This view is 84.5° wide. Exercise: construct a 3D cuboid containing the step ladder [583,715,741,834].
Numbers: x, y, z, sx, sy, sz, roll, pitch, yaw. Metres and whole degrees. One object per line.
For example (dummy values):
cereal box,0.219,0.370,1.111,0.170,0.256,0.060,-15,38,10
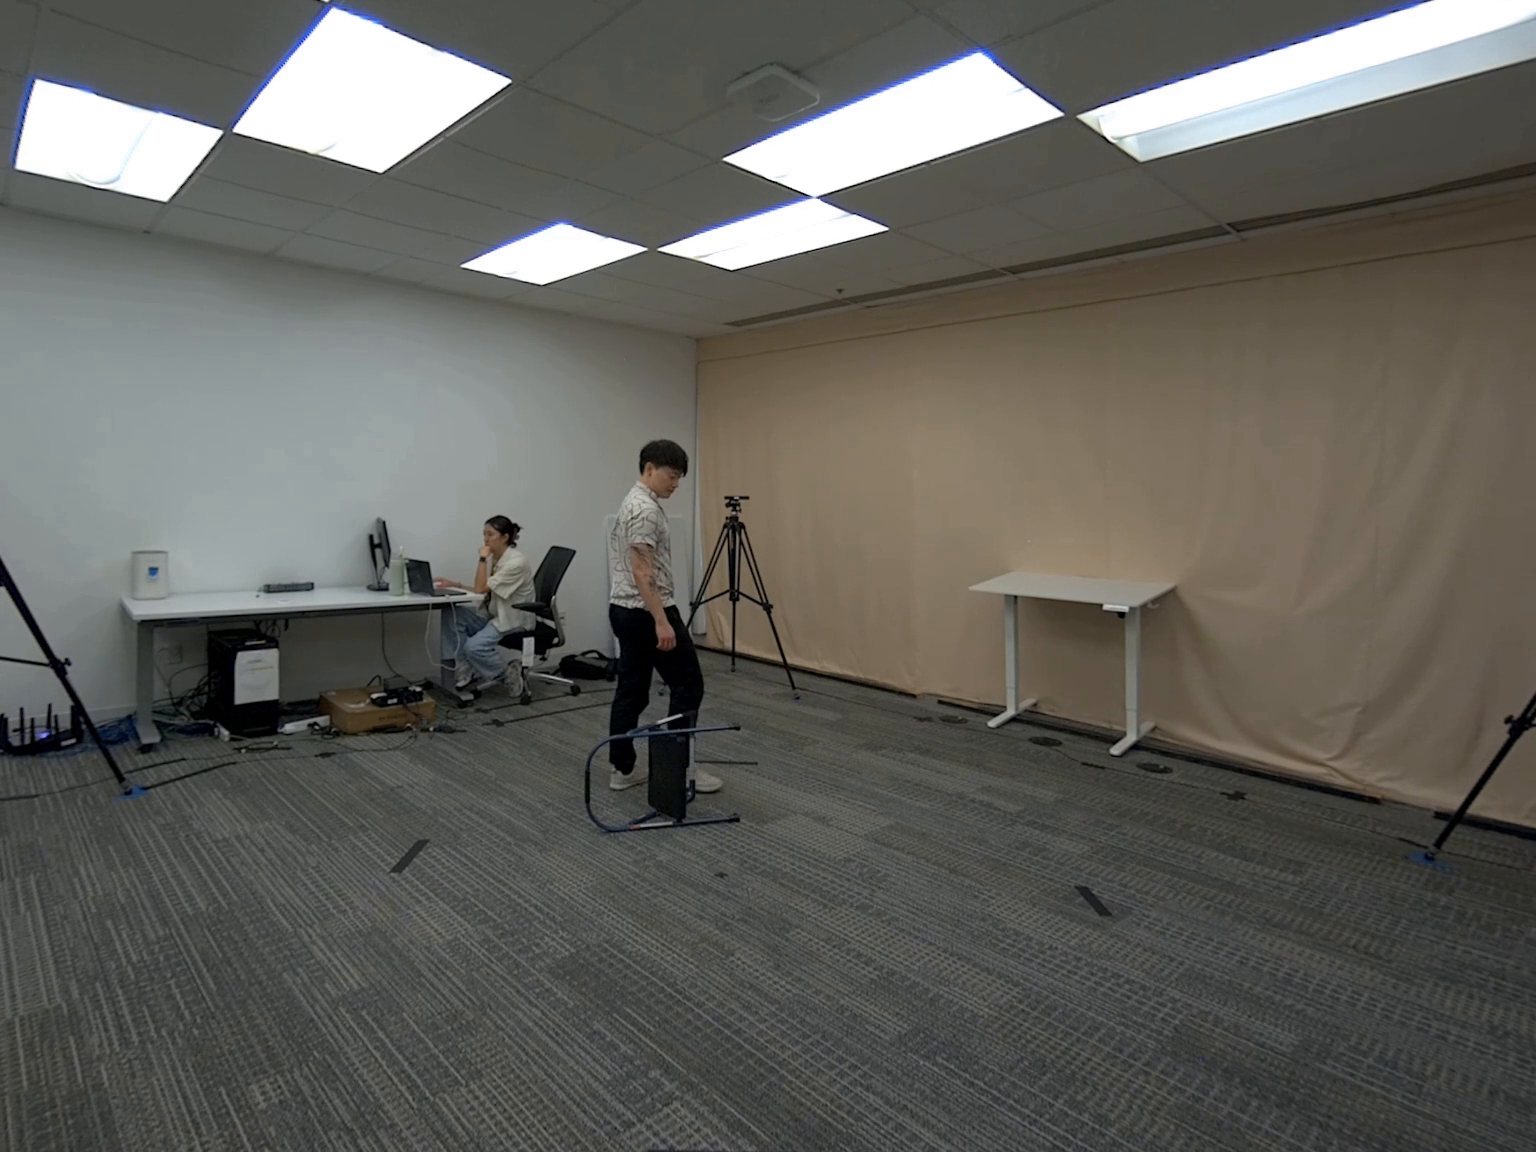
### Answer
step ladder,-0.474,0.847,3.562,0.592,0.430,0.358,-2,4,-39
